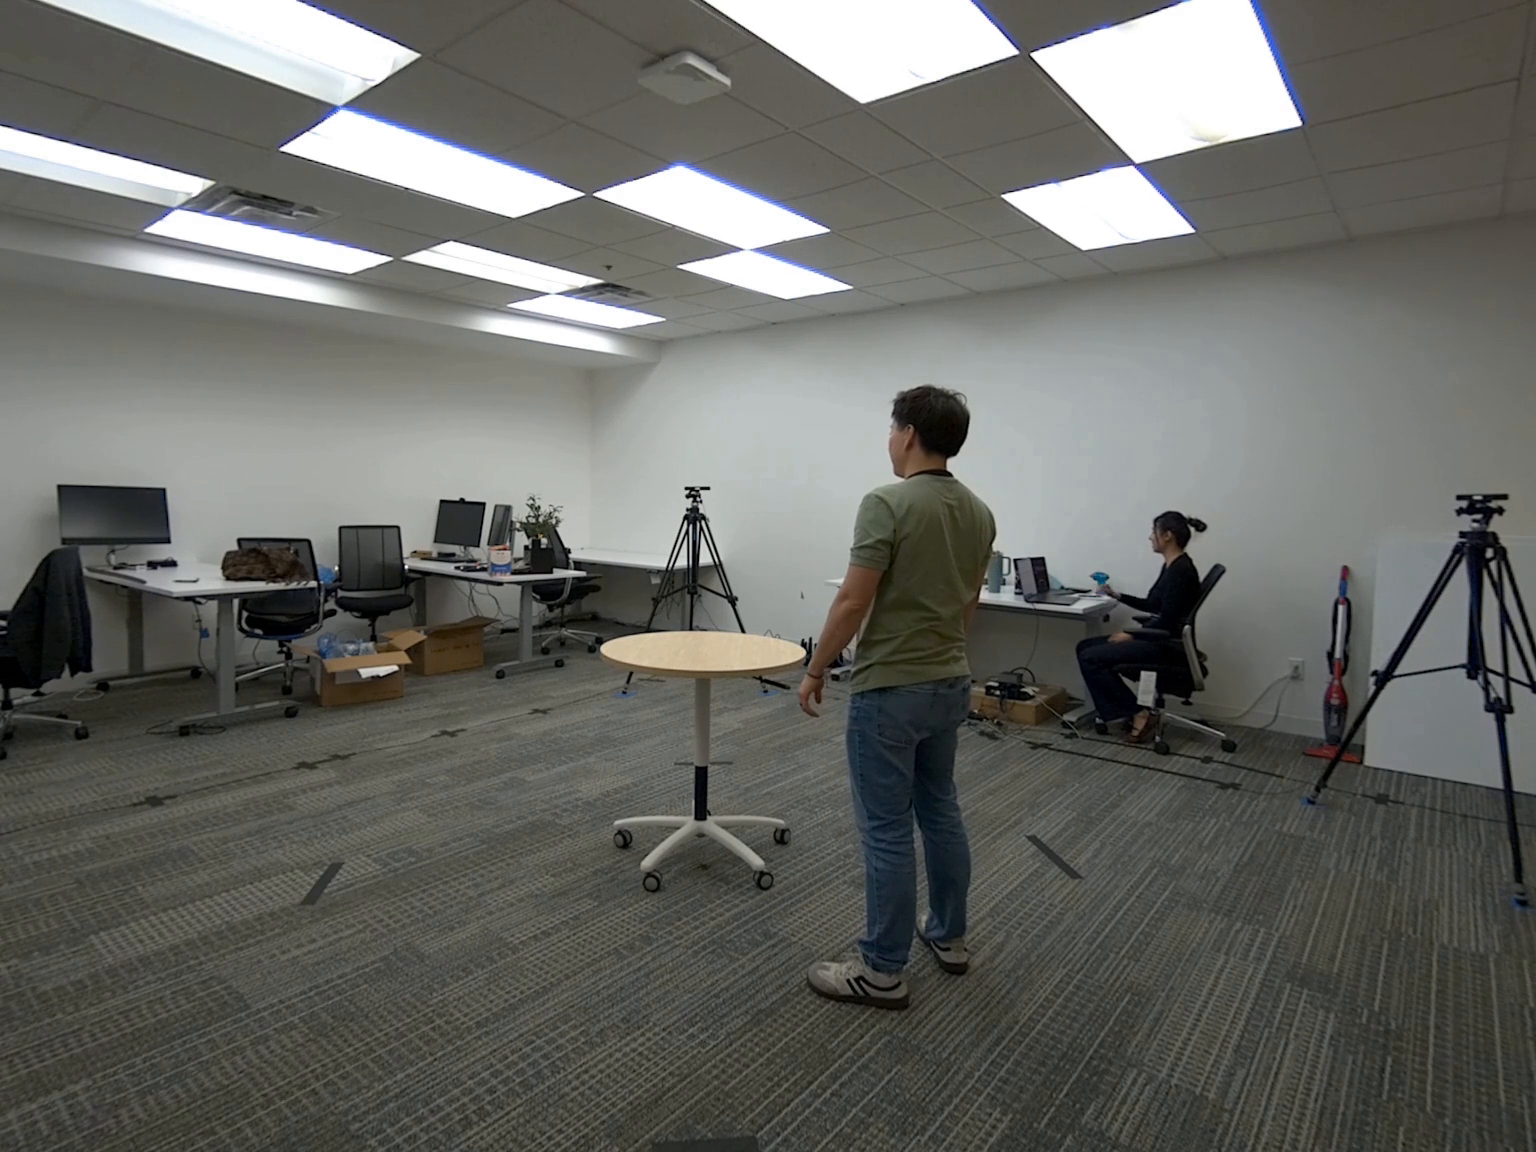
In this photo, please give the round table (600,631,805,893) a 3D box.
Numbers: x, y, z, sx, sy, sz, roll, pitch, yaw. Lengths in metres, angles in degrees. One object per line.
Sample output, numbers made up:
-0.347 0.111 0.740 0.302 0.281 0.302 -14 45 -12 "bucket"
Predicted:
-0.263 0.664 3.197 0.763 0.792 0.767 1 4 -2 "round table"
